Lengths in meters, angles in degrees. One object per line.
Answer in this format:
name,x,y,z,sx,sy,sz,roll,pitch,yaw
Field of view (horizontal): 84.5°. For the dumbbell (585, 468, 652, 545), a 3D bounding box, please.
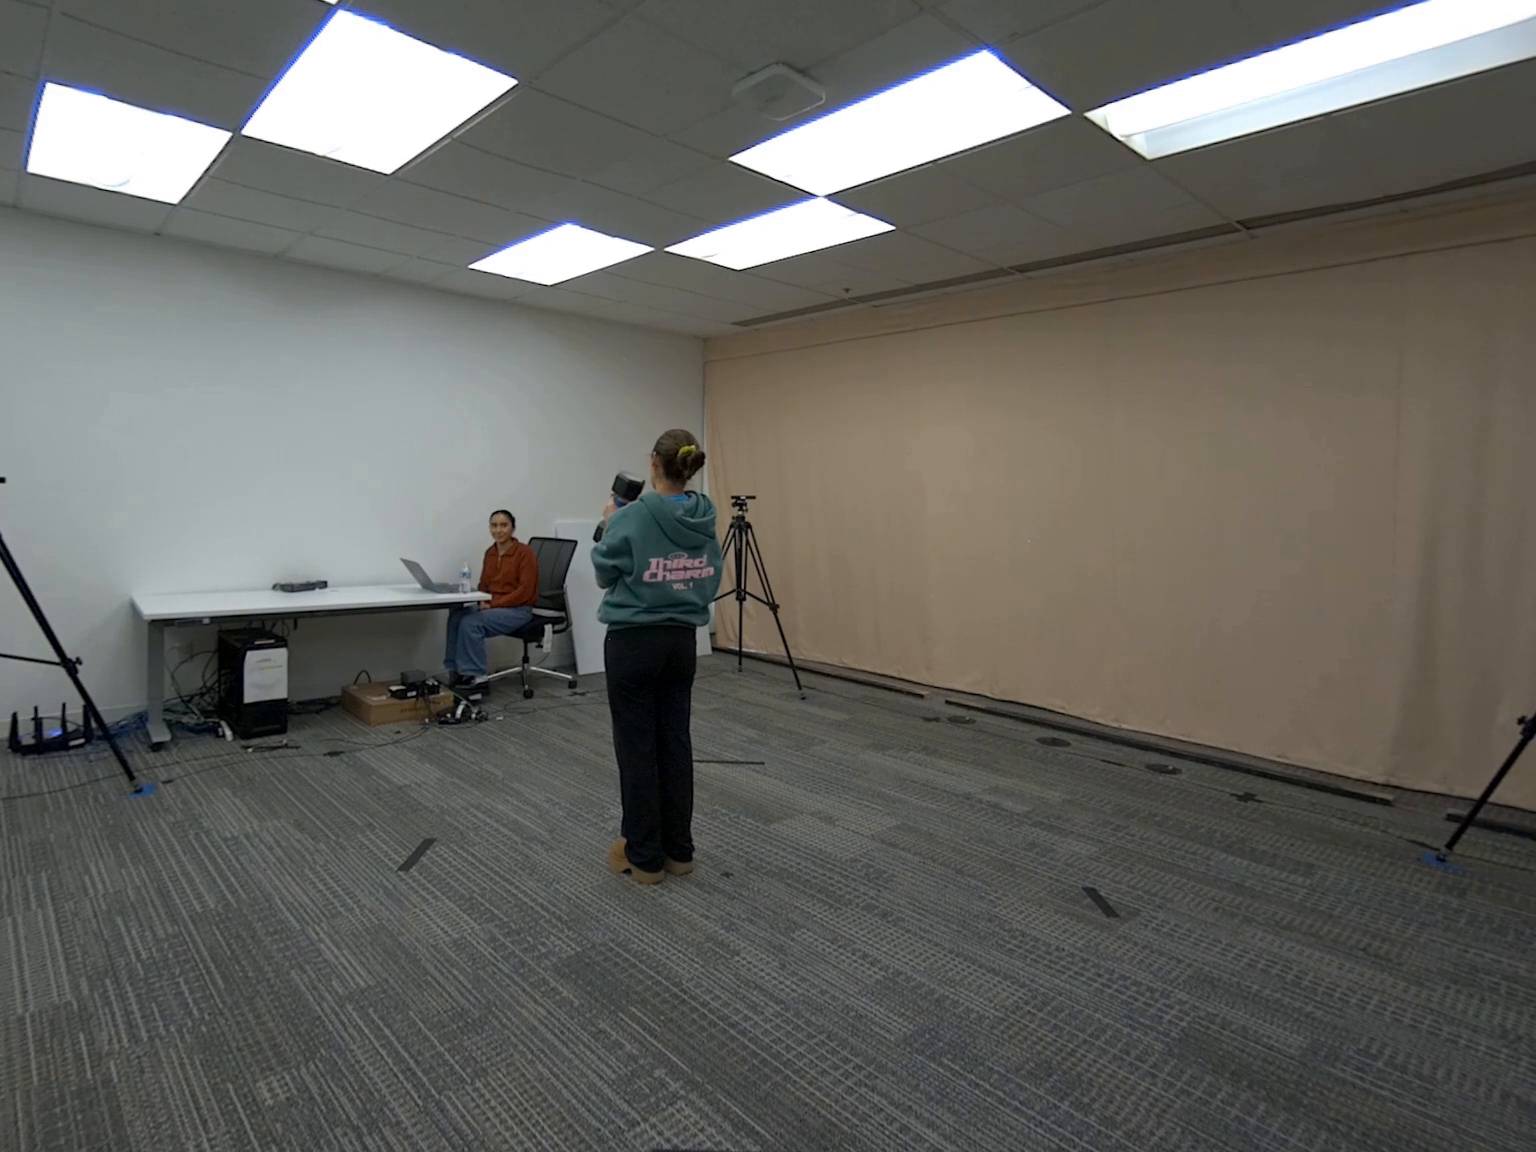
dumbbell,-0.566,-0.250,3.205,0.126,0.291,0.107,34,21,24
